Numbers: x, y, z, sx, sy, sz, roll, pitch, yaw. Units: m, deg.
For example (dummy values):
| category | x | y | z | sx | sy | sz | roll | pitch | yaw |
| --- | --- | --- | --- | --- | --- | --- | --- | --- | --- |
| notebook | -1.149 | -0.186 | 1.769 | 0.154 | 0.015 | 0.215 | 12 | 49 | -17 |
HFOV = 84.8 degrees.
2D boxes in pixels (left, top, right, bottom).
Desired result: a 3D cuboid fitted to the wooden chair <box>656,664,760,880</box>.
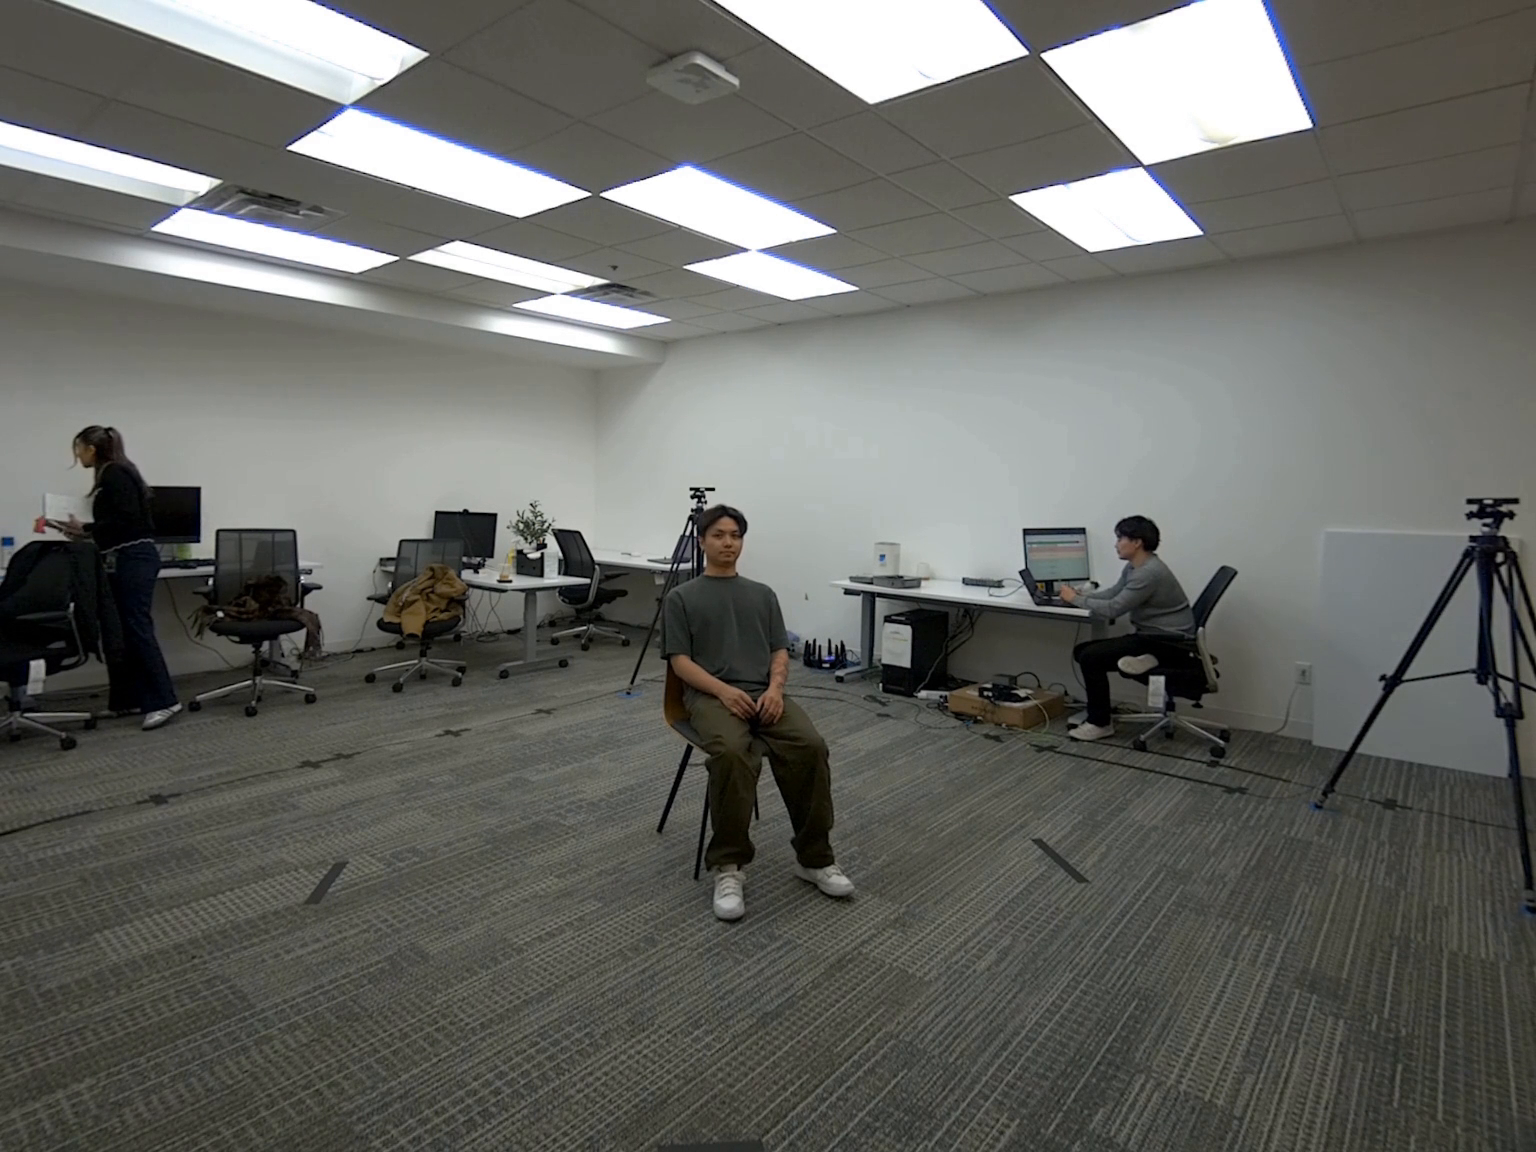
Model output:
| category | x | y | z | sx | sy | sz | roll | pitch | yaw |
| --- | --- | --- | --- | --- | --- | --- | --- | --- | --- |
| wooden chair | -0.147 | 0.618 | 3.279 | 0.467 | 0.878 | 0.535 | 0 | -1 | -24 |
